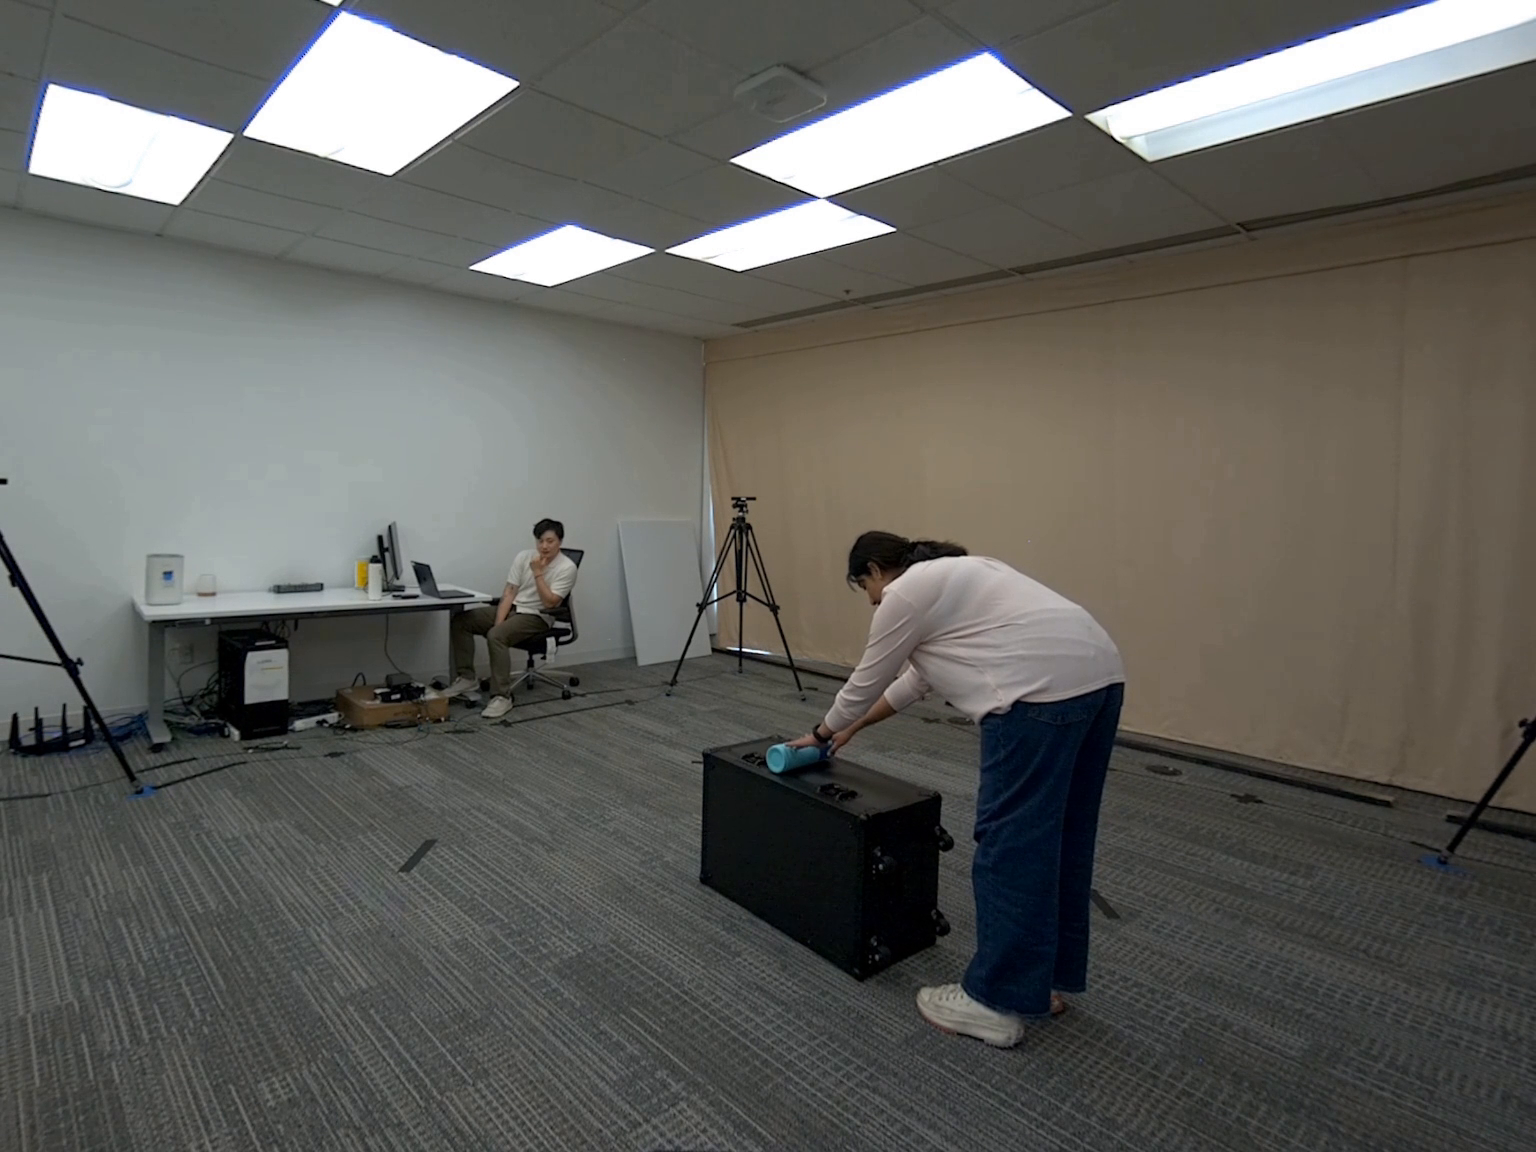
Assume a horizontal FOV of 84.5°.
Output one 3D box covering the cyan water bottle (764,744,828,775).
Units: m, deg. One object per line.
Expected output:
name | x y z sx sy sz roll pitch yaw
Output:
cyan water bottle | 0.113 0.602 2.882 0.277 0.092 0.095 -2 5 -45
